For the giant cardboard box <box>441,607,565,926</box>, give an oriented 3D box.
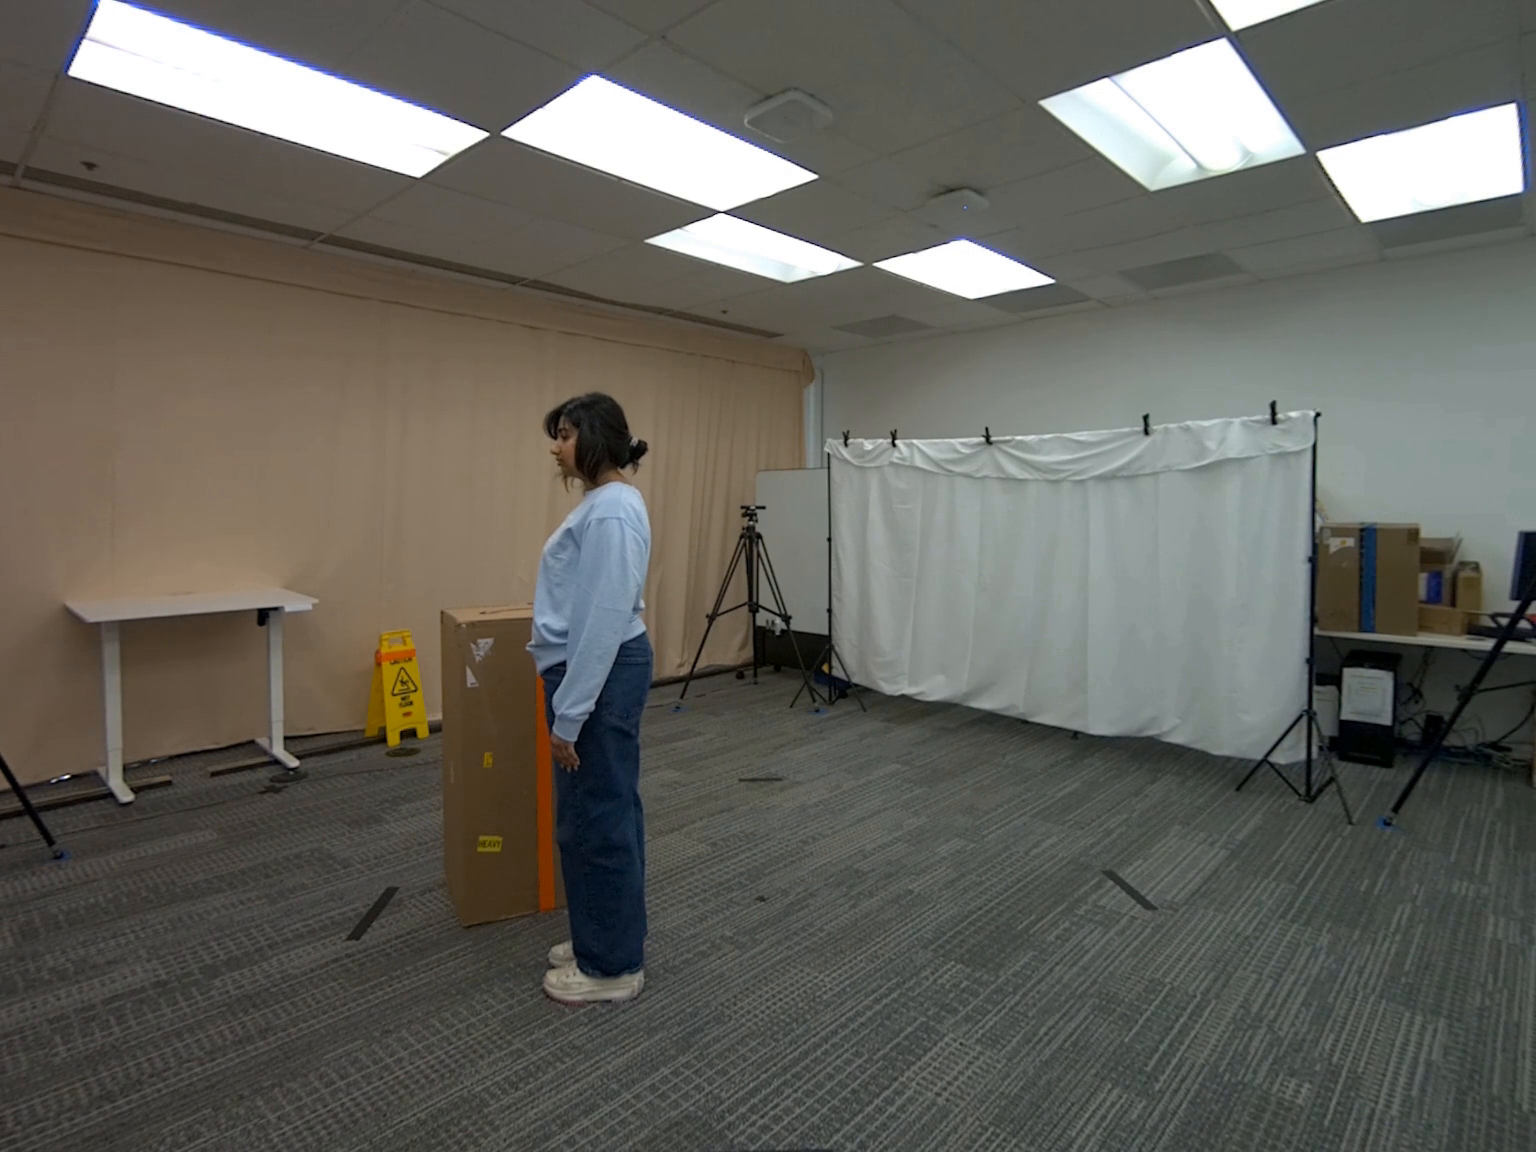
[{"bbox_3d":[-0.865,0.632,3.075,0.563,1.024,0.438,-1,3,-27],"label":"giant cardboard box"}]
